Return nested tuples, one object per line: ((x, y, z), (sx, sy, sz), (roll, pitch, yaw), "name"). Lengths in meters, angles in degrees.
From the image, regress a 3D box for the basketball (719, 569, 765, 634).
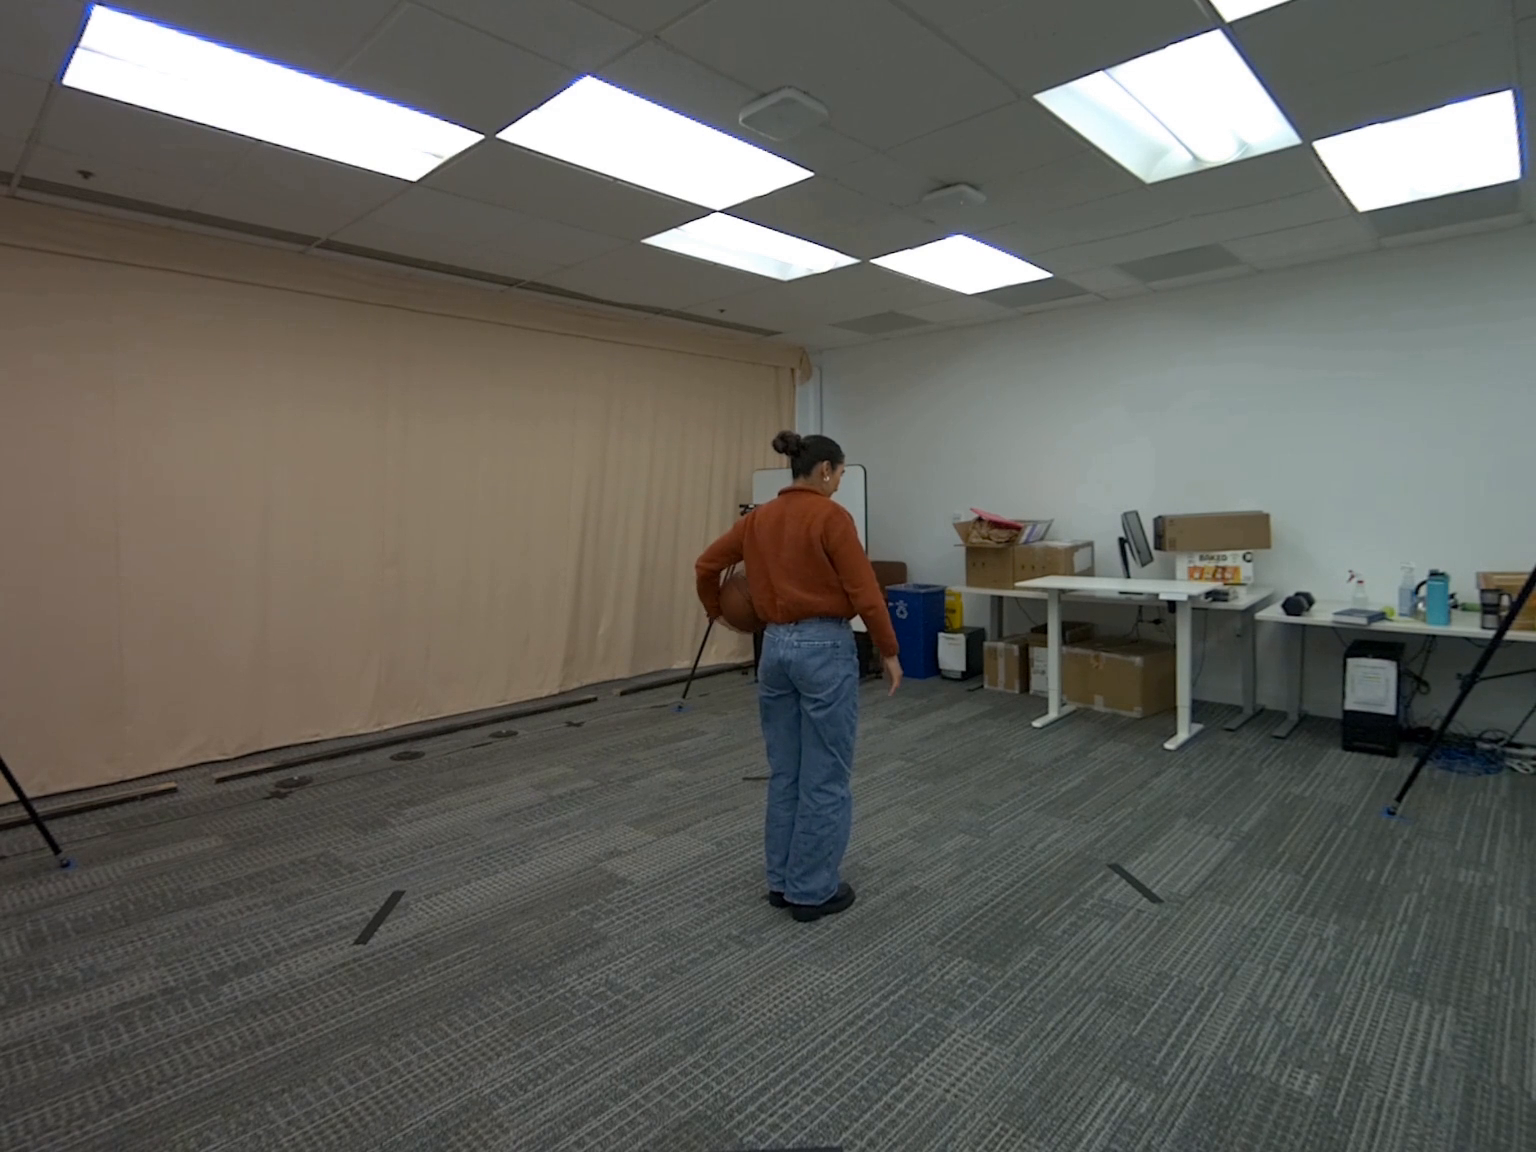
((-0.046, 0.092, 3.139), (0.236, 0.235, 0.237), (-1, 4, -2), "basketball")
